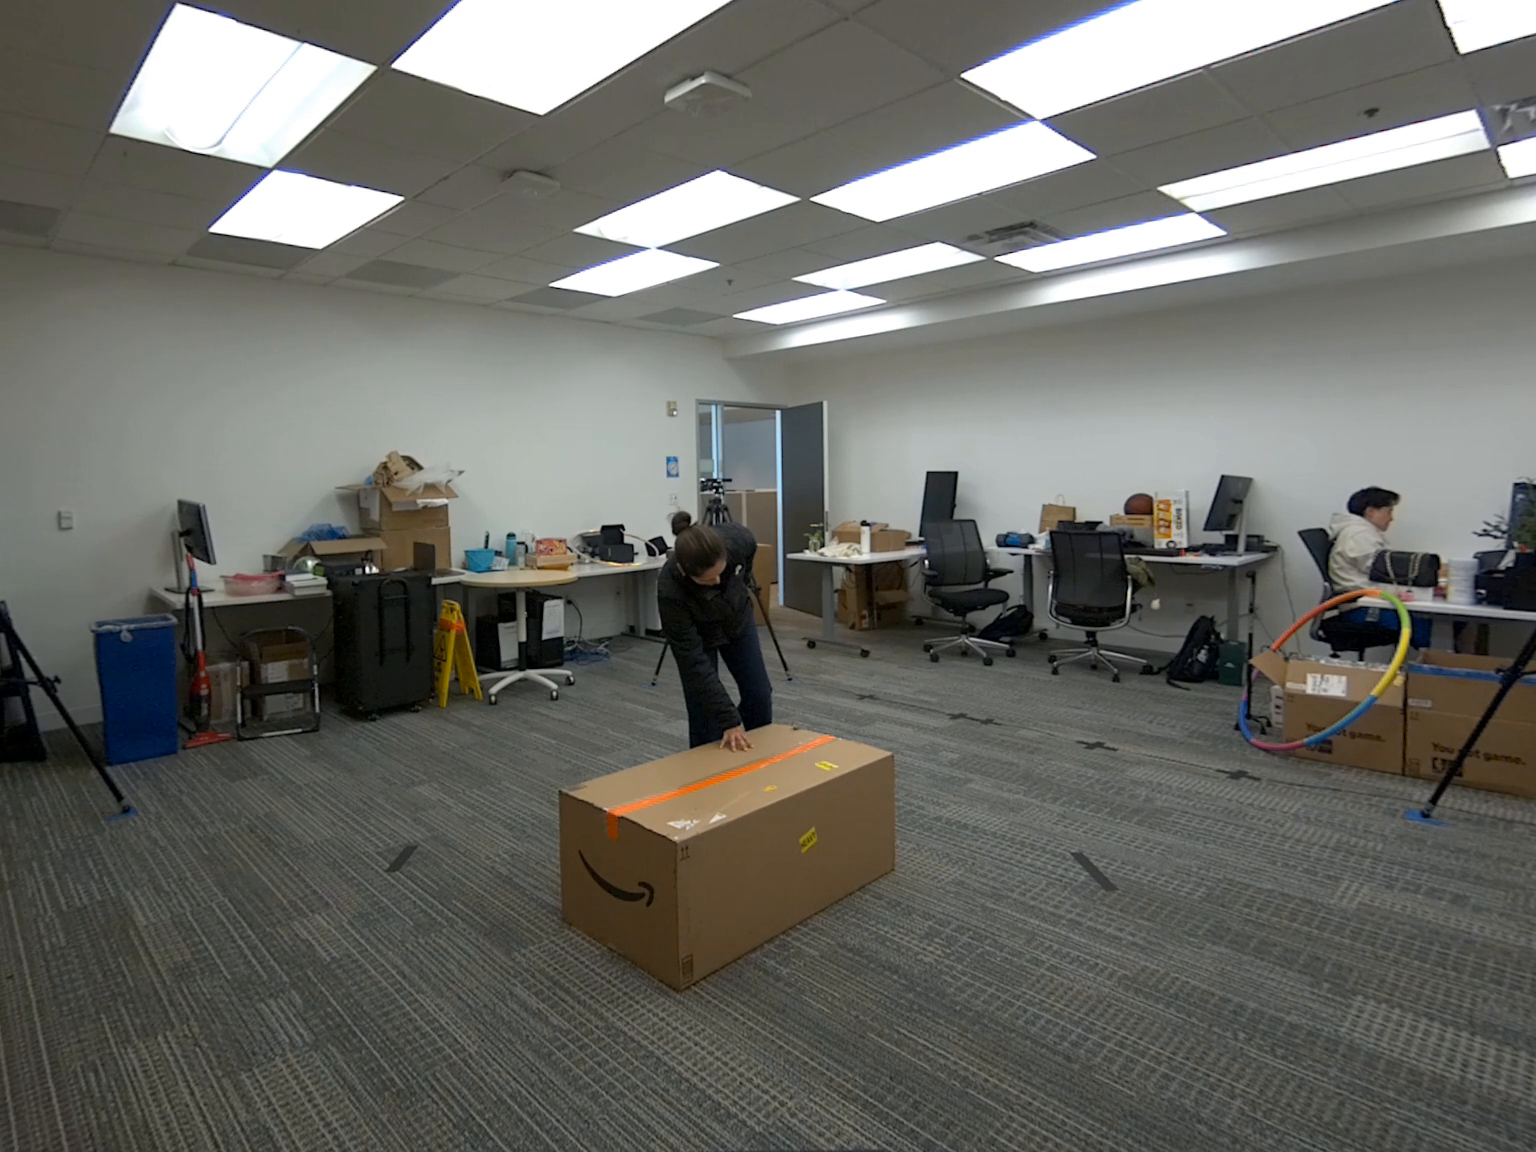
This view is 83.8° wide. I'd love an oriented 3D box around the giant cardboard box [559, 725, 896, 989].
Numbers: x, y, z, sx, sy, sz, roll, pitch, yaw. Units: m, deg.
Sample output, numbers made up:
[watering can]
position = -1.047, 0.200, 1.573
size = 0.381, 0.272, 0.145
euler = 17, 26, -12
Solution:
[giant cardboard box]
position = -0.107, 0.863, 2.884
size = 0.601, 0.445, 1.001
euler = 2, 7, 44
